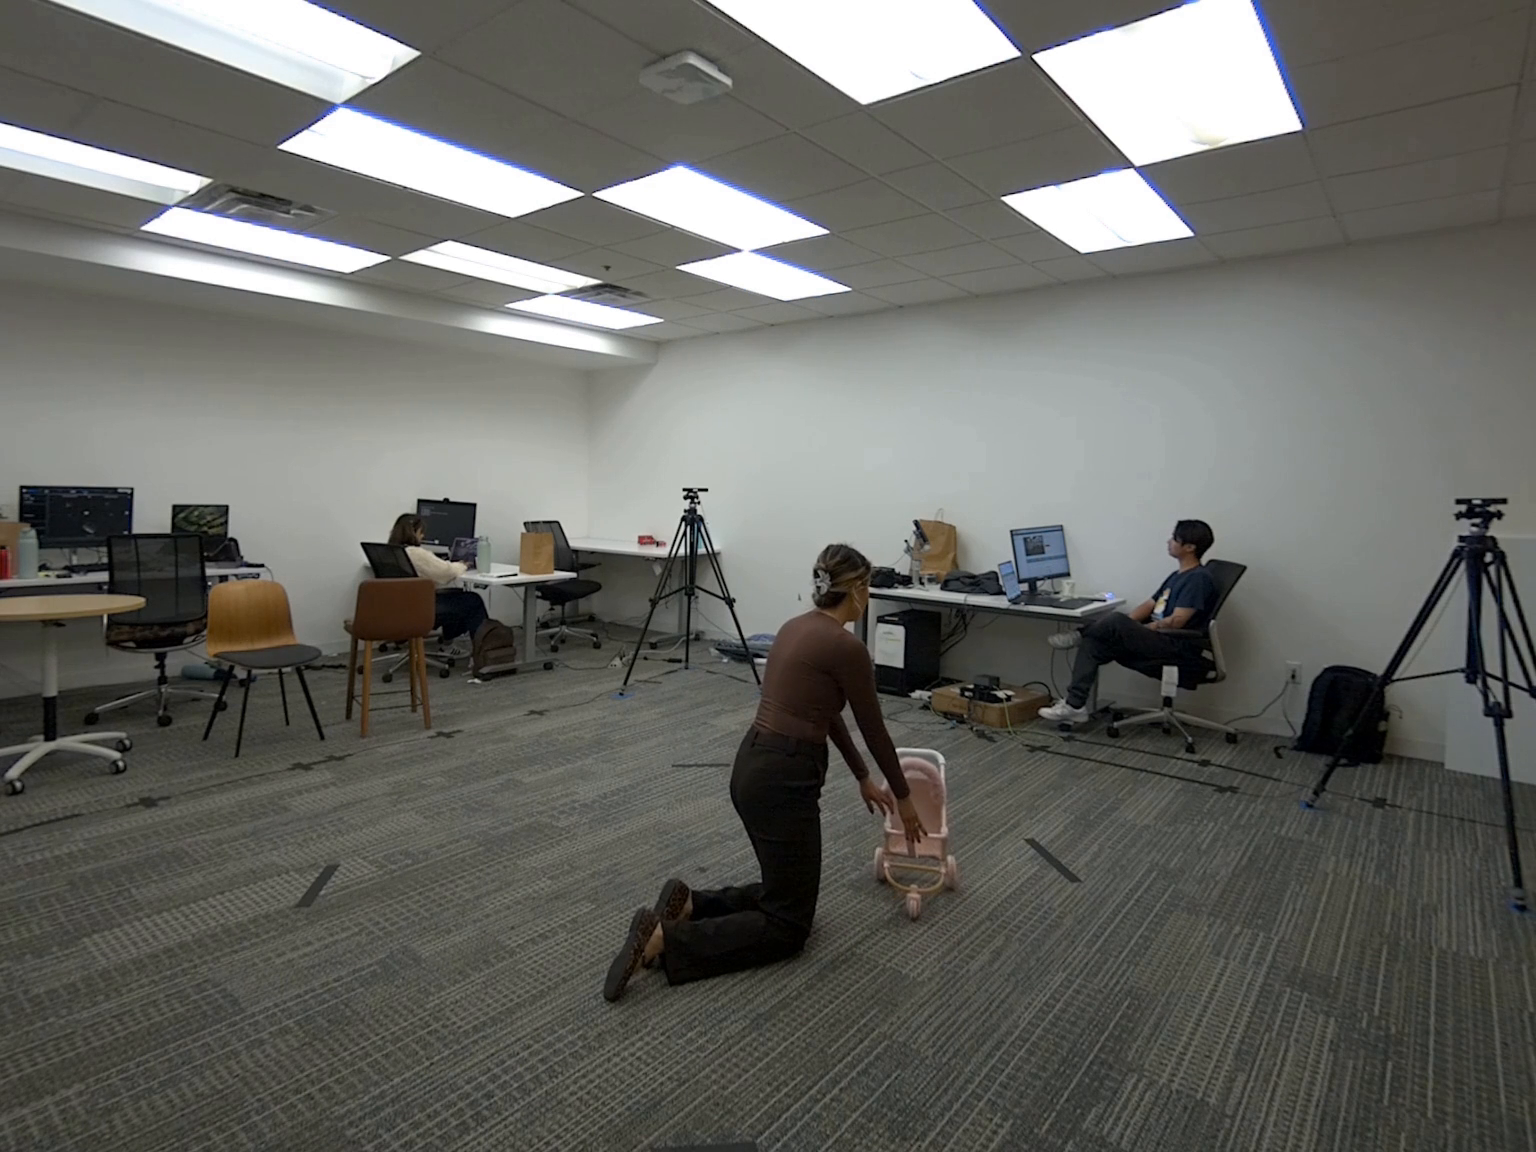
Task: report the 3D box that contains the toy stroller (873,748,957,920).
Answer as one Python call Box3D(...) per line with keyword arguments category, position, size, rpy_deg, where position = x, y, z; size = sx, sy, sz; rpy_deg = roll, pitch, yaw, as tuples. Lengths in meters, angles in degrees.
Box3D(category="toy stroller", position=(0.502, 0.875, 2.968), size=(0.286, 0.540, 0.332), rpy_deg=(1, -11, 16))
